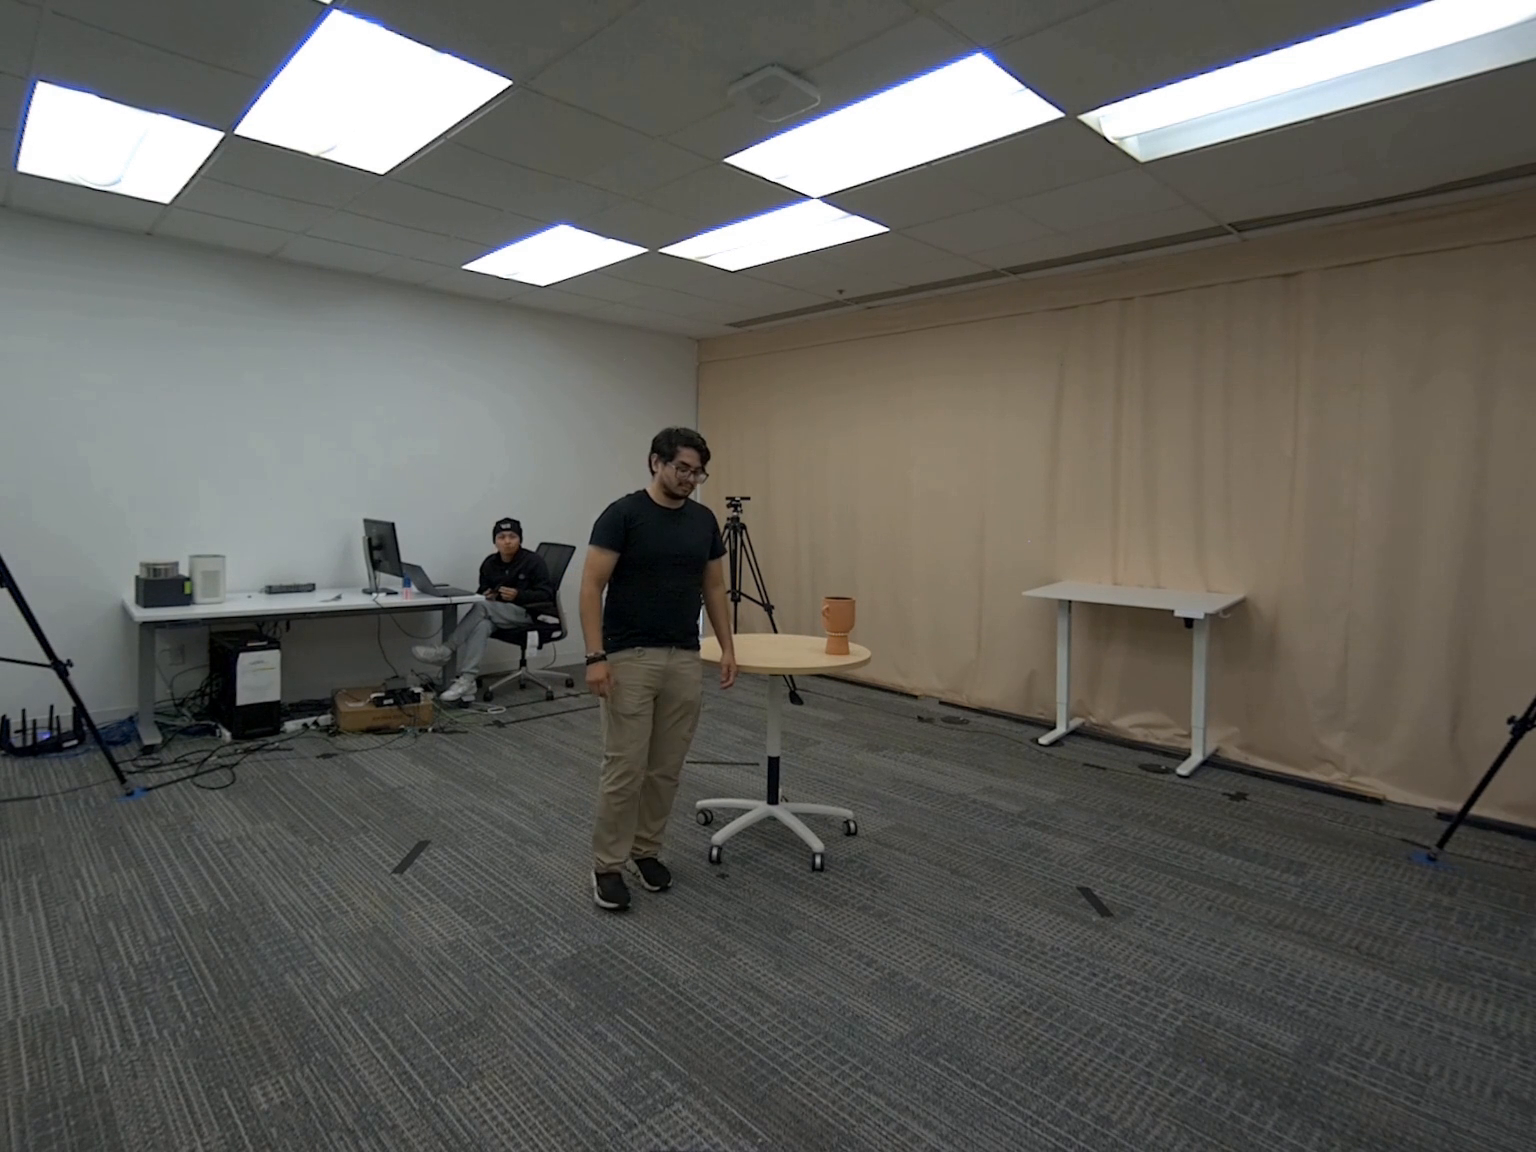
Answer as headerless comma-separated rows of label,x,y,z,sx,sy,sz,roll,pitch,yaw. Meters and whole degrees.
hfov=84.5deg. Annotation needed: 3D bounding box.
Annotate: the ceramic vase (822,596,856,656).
ceramic vase,0.276,0.201,3.378,0.158,0.219,0.135,1,3,-6
